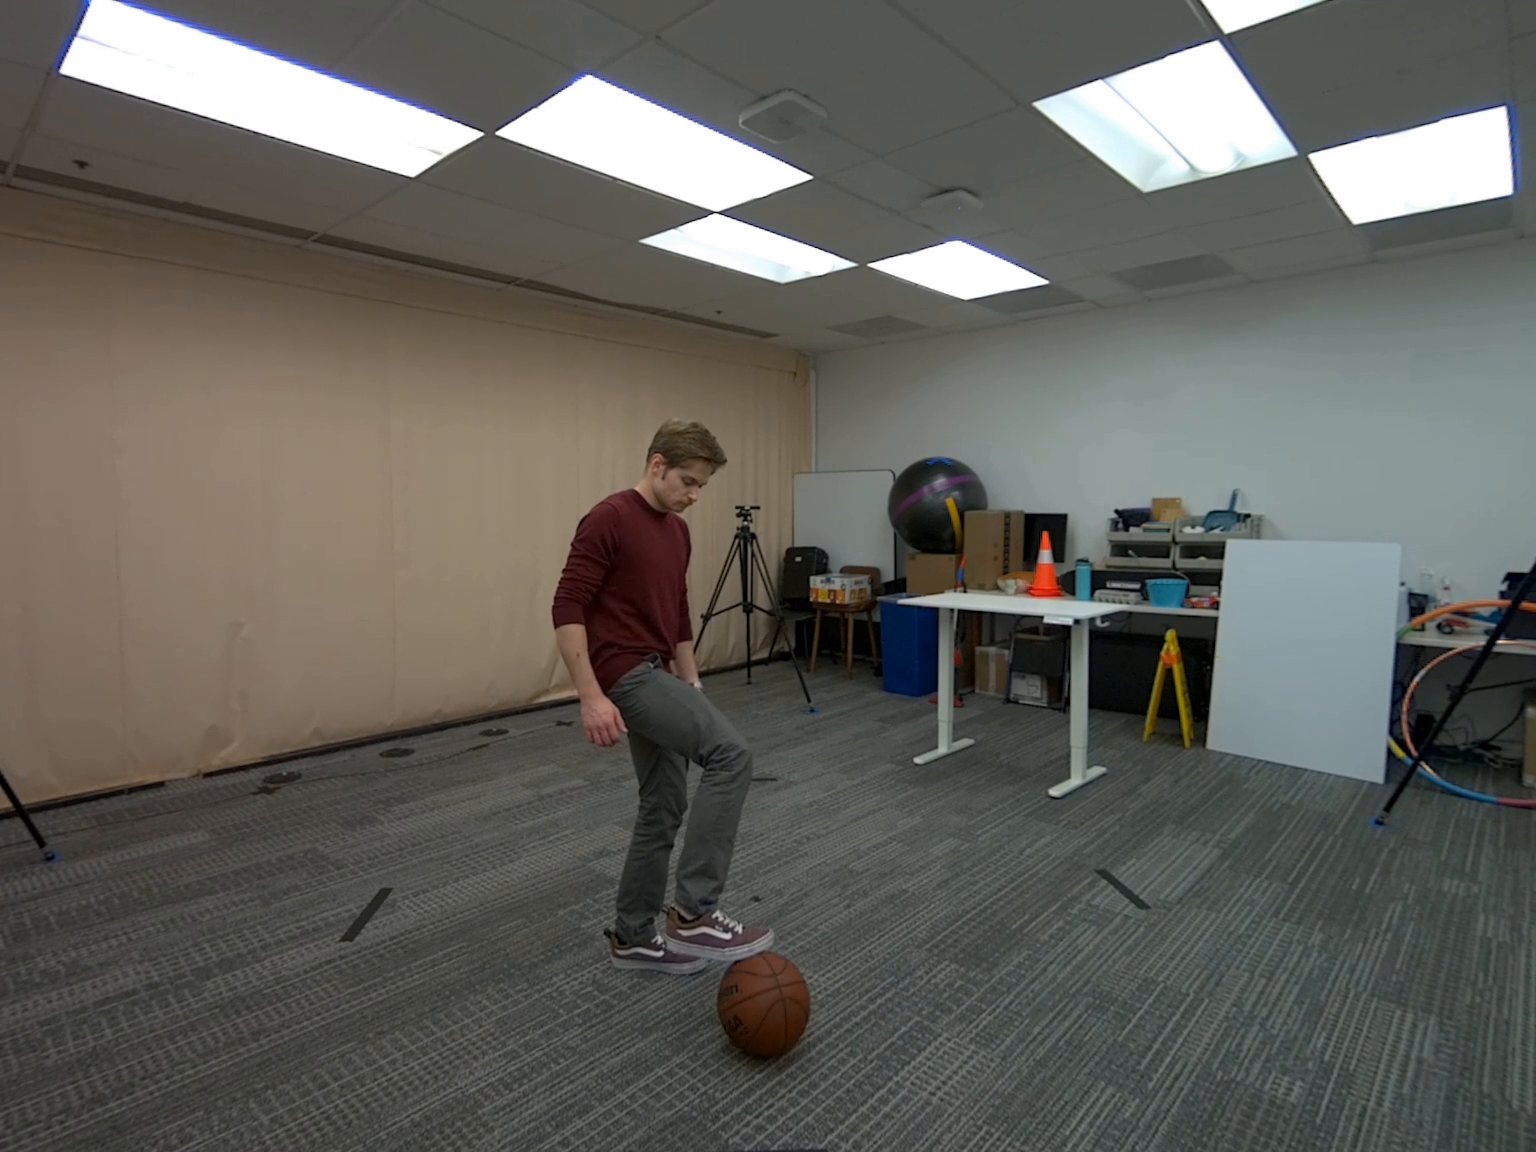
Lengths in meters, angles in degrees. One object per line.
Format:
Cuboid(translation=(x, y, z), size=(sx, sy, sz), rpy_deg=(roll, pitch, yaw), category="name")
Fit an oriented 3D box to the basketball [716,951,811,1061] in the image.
Cuboid(translation=(-0.003, 1.096, 2.152), size=(0.236, 0.235, 0.237), rpy_deg=(0, 4, -2), category="basketball")
